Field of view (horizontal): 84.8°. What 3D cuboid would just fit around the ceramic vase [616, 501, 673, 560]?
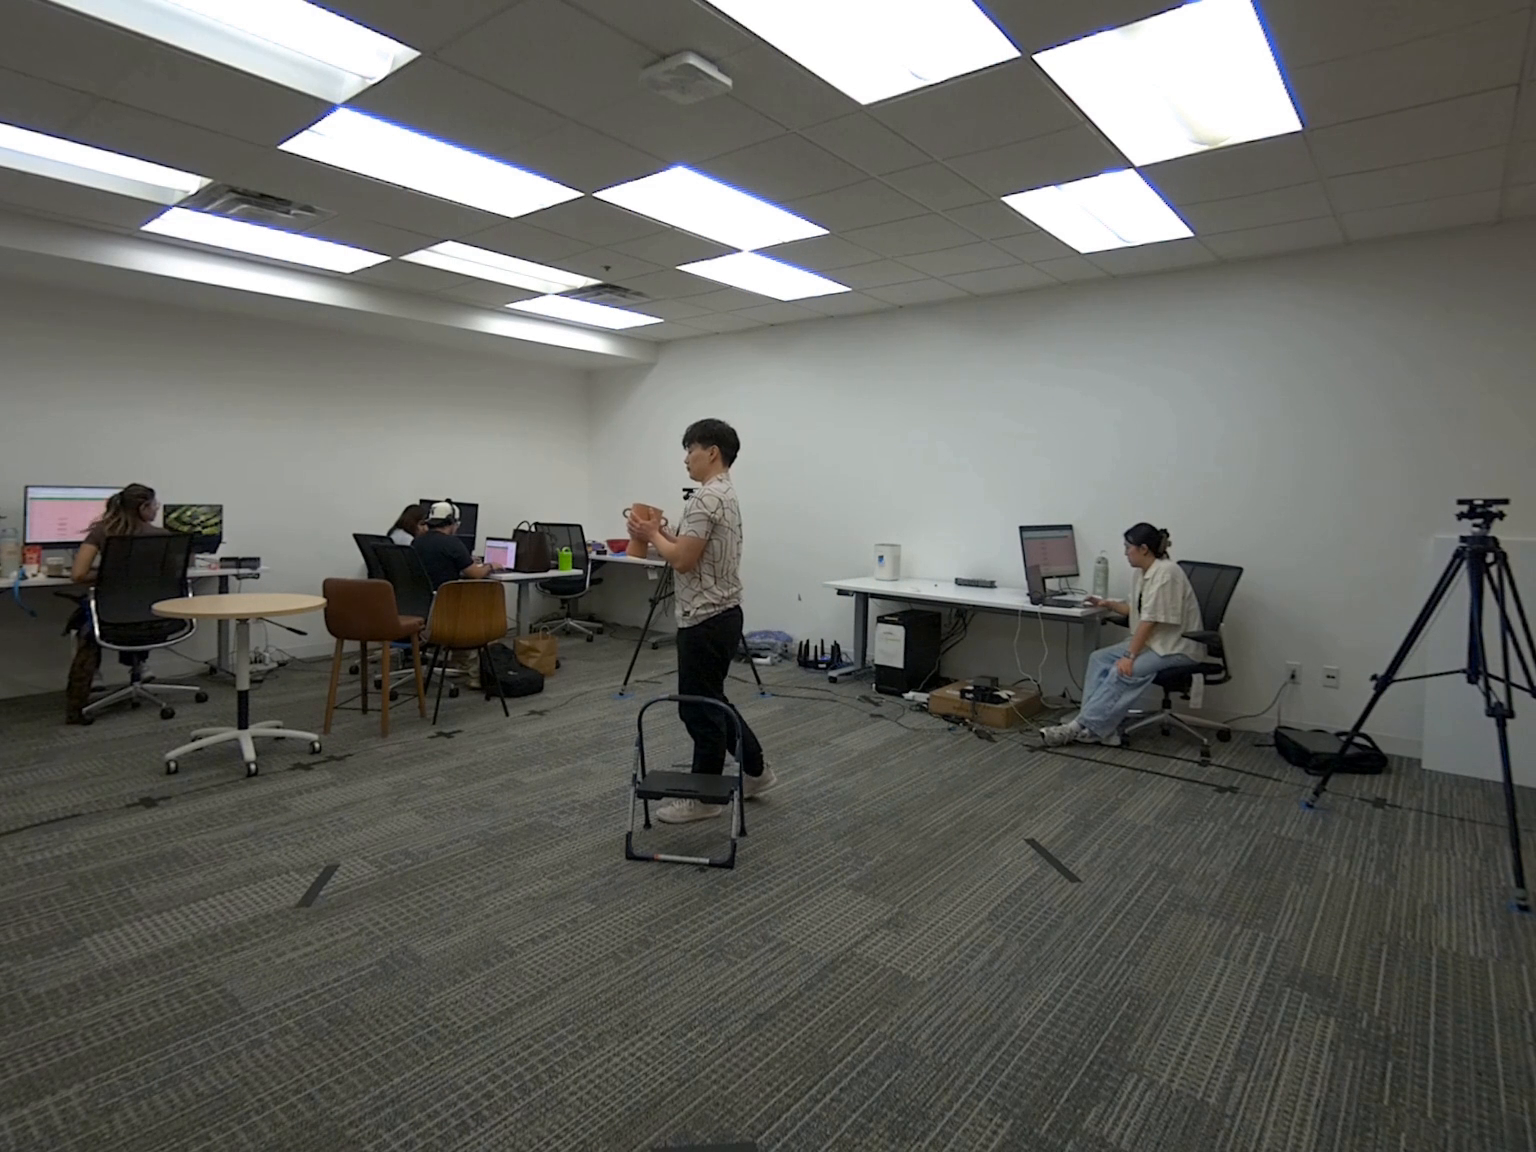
[{"bbox_3d":[-0.537,-0.196,3.630,0.164,0.219,0.130,14,6,33],"label":"ceramic vase"}]
